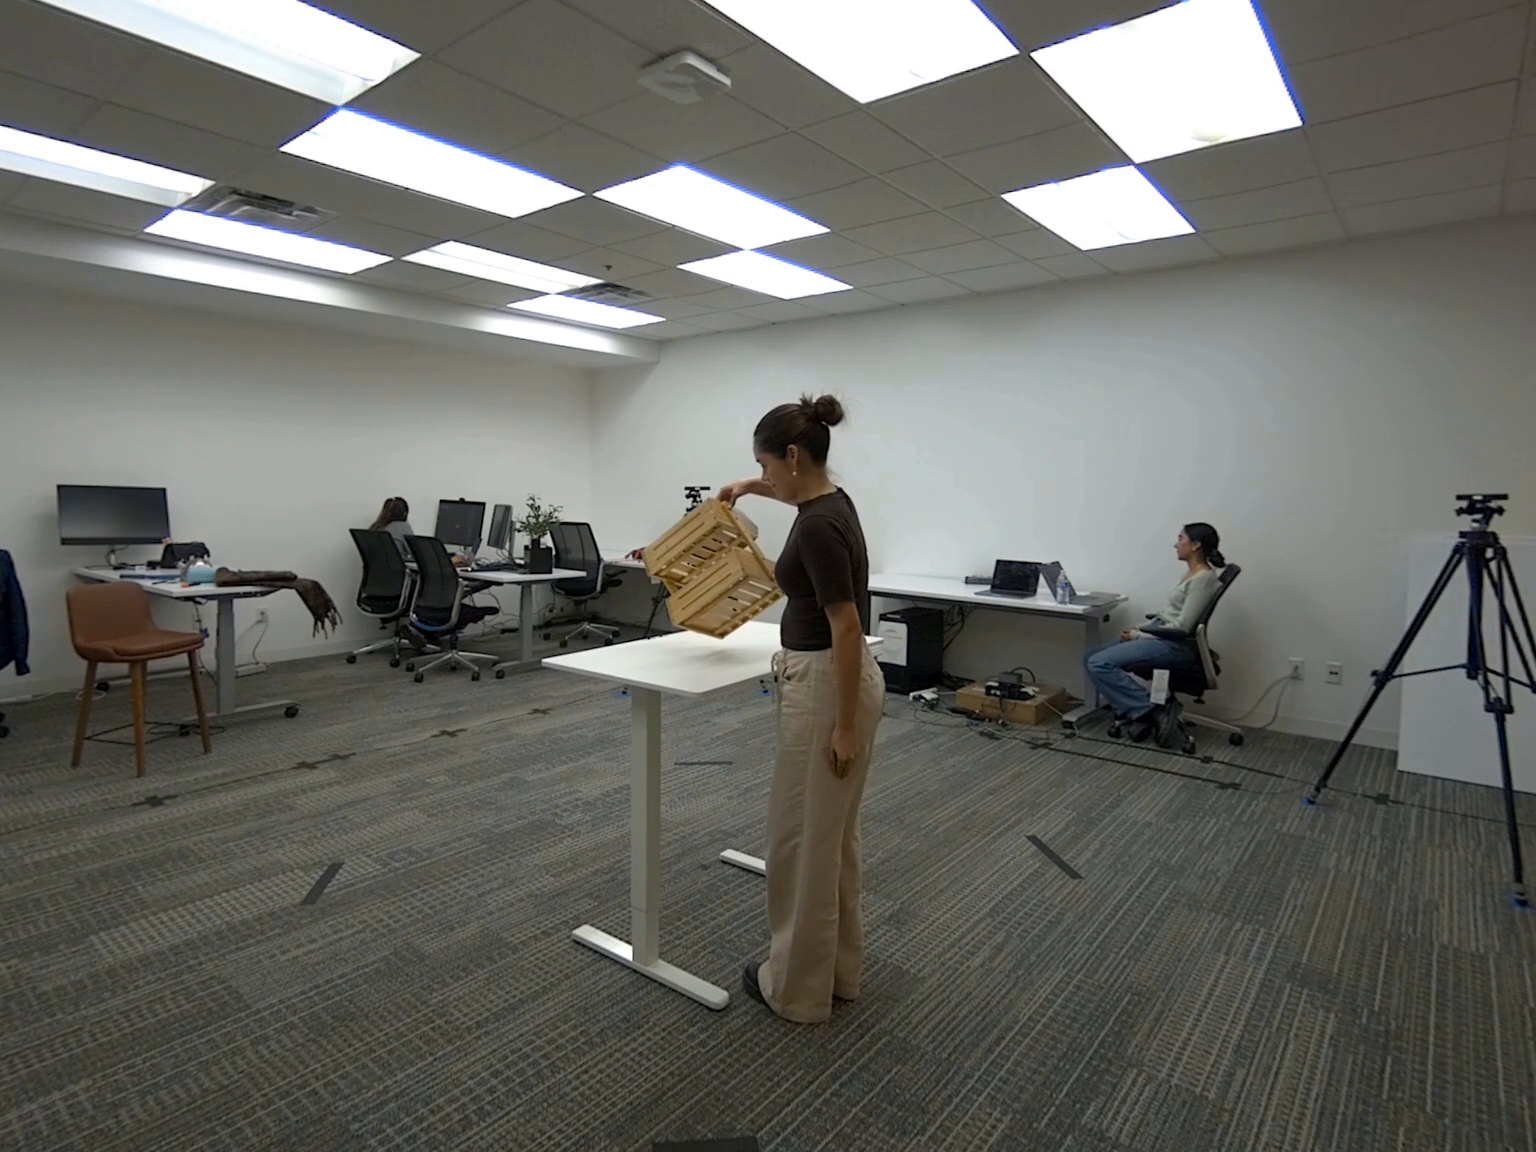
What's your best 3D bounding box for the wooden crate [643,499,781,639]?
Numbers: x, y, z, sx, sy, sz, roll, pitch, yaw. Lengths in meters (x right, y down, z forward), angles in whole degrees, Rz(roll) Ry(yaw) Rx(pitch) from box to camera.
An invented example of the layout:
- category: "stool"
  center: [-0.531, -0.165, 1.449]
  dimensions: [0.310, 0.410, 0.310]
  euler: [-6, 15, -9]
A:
- category: "wooden crate"
  center: [-0.168, -0.018, 2.608]
  dimensions: [0.326, 0.283, 0.290]
  euler: [-37, -35, 26]
